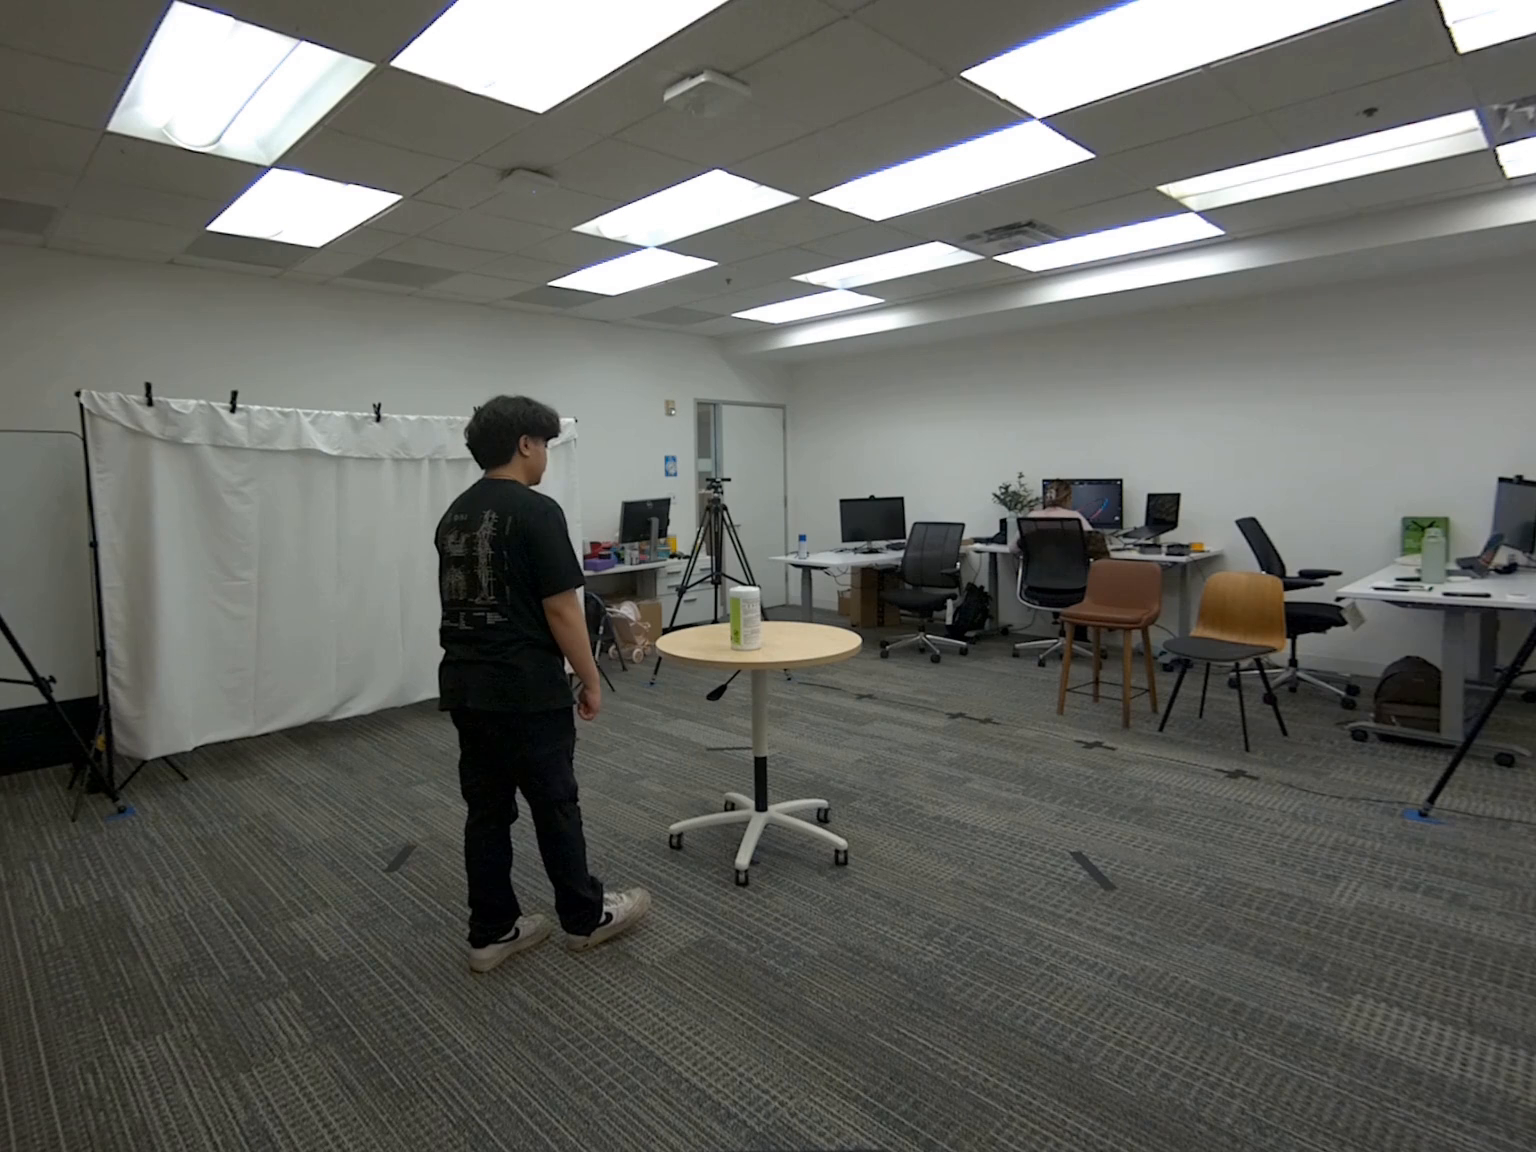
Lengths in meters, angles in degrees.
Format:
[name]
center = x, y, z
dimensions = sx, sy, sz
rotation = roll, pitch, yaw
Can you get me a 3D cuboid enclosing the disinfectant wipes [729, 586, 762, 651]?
[disinfectant wipes]
center = -0.077, 0.151, 3.041
dimensions = 0.118, 0.216, 0.118
rotation = -2, 5, -1
